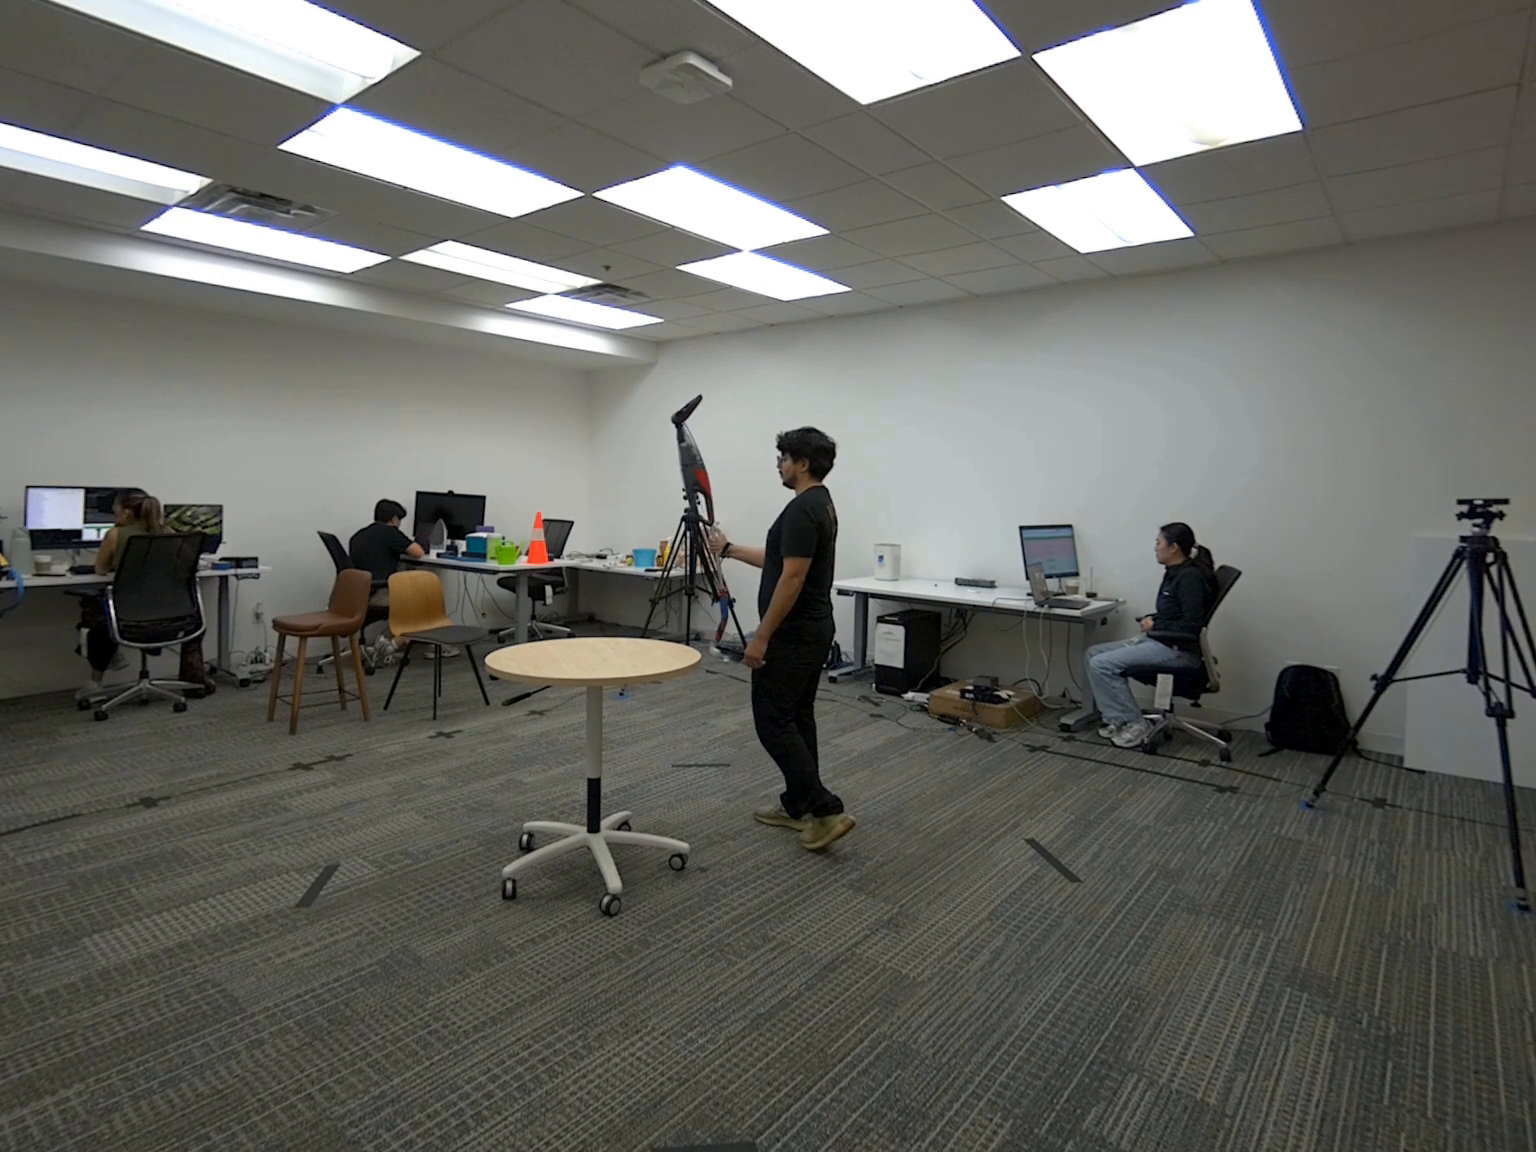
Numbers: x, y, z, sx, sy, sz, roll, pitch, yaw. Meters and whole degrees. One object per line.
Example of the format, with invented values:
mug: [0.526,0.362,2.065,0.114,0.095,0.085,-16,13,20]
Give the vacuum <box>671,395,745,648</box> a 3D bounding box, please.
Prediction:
vacuum: [-0.300,-0.238,3.803,0.143,1.047,0.254,-8,2,-6]
